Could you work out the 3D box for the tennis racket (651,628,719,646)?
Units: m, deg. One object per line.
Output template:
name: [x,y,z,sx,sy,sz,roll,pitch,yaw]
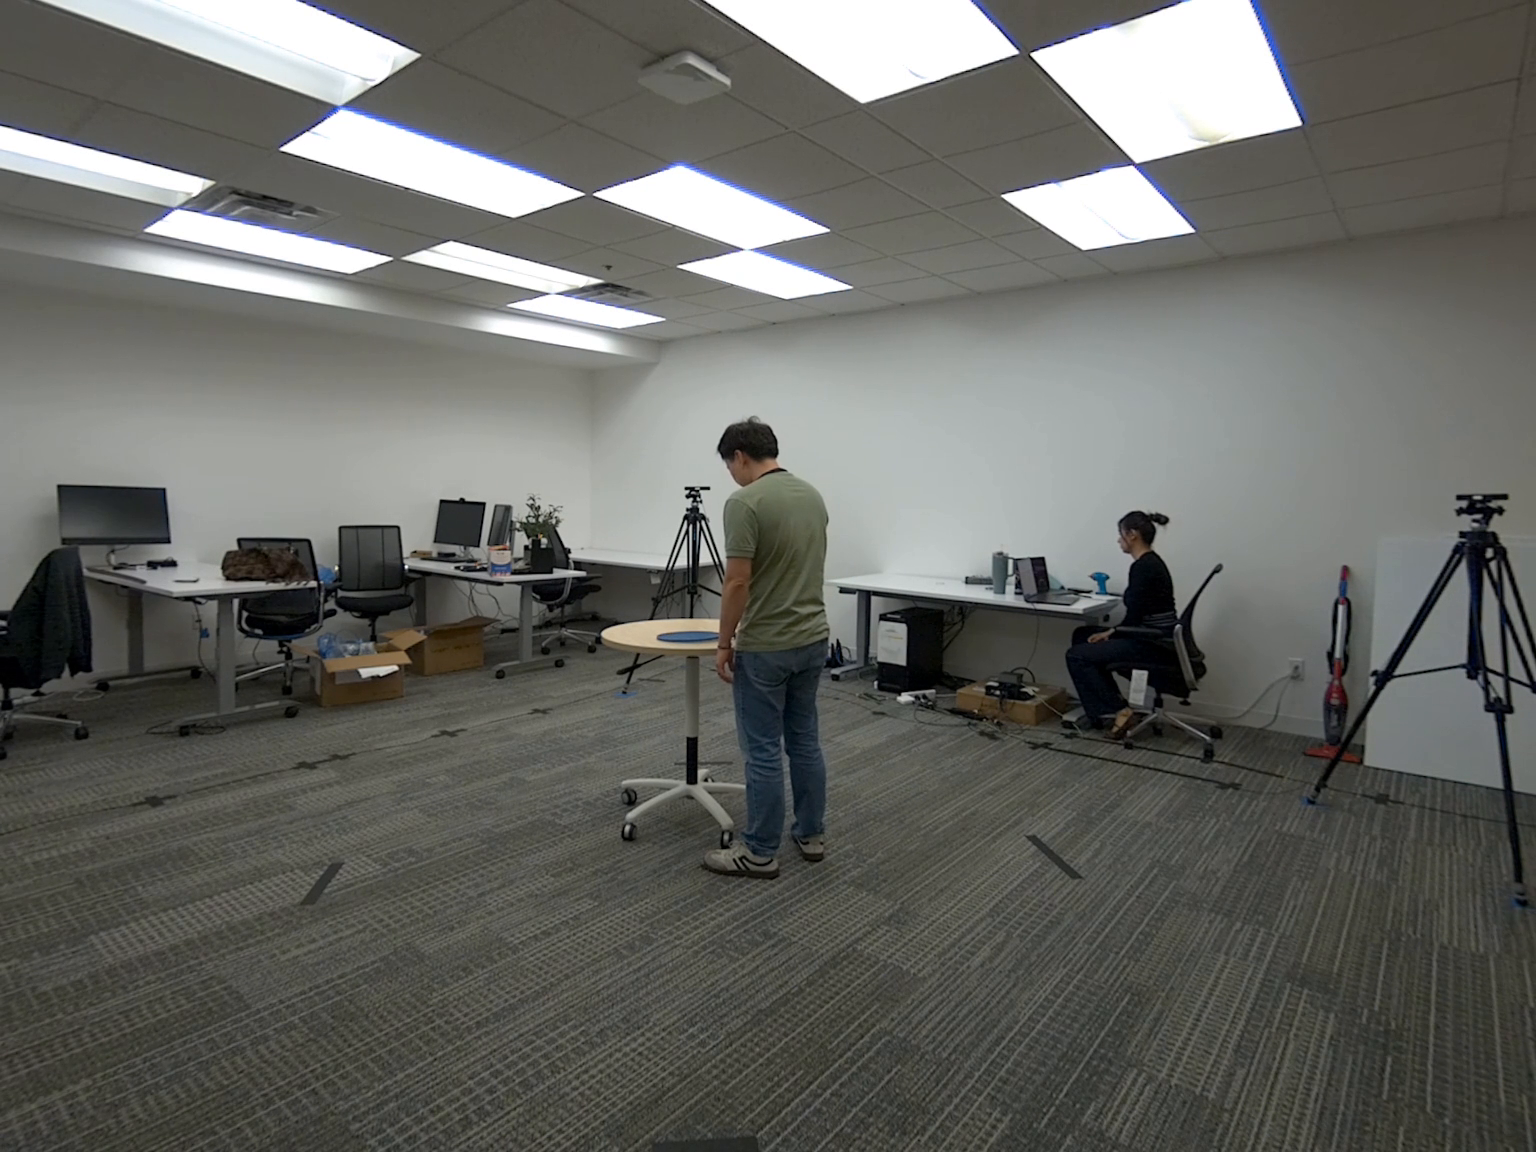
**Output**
tennis racket: [-0.237,0.242,3.397,0.437,0.031,0.213,-1,5,8]
